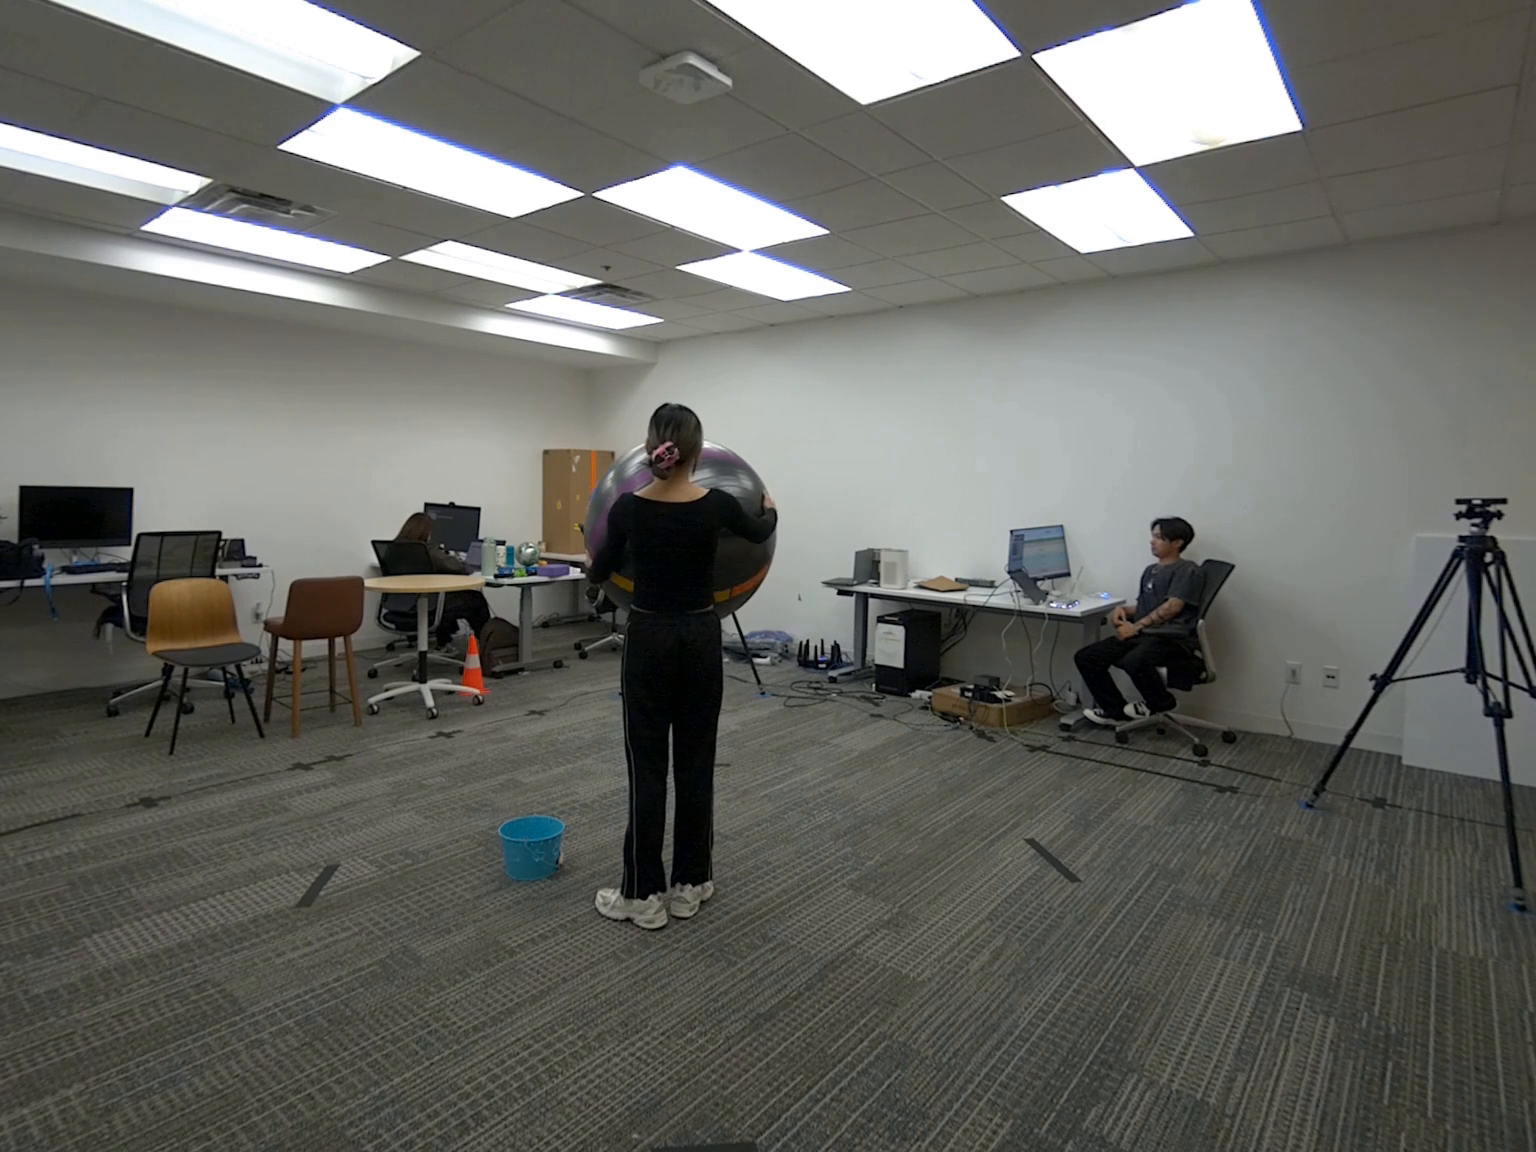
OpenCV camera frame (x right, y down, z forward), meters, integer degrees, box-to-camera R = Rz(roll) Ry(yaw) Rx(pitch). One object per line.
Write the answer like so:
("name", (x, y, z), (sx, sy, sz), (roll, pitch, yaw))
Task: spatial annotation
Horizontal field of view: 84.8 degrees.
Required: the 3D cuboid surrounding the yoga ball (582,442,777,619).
("yoga ball", (-0.353, -0.170, 3.363), (0.757, 0.755, 0.762), (1, 4, -2))
